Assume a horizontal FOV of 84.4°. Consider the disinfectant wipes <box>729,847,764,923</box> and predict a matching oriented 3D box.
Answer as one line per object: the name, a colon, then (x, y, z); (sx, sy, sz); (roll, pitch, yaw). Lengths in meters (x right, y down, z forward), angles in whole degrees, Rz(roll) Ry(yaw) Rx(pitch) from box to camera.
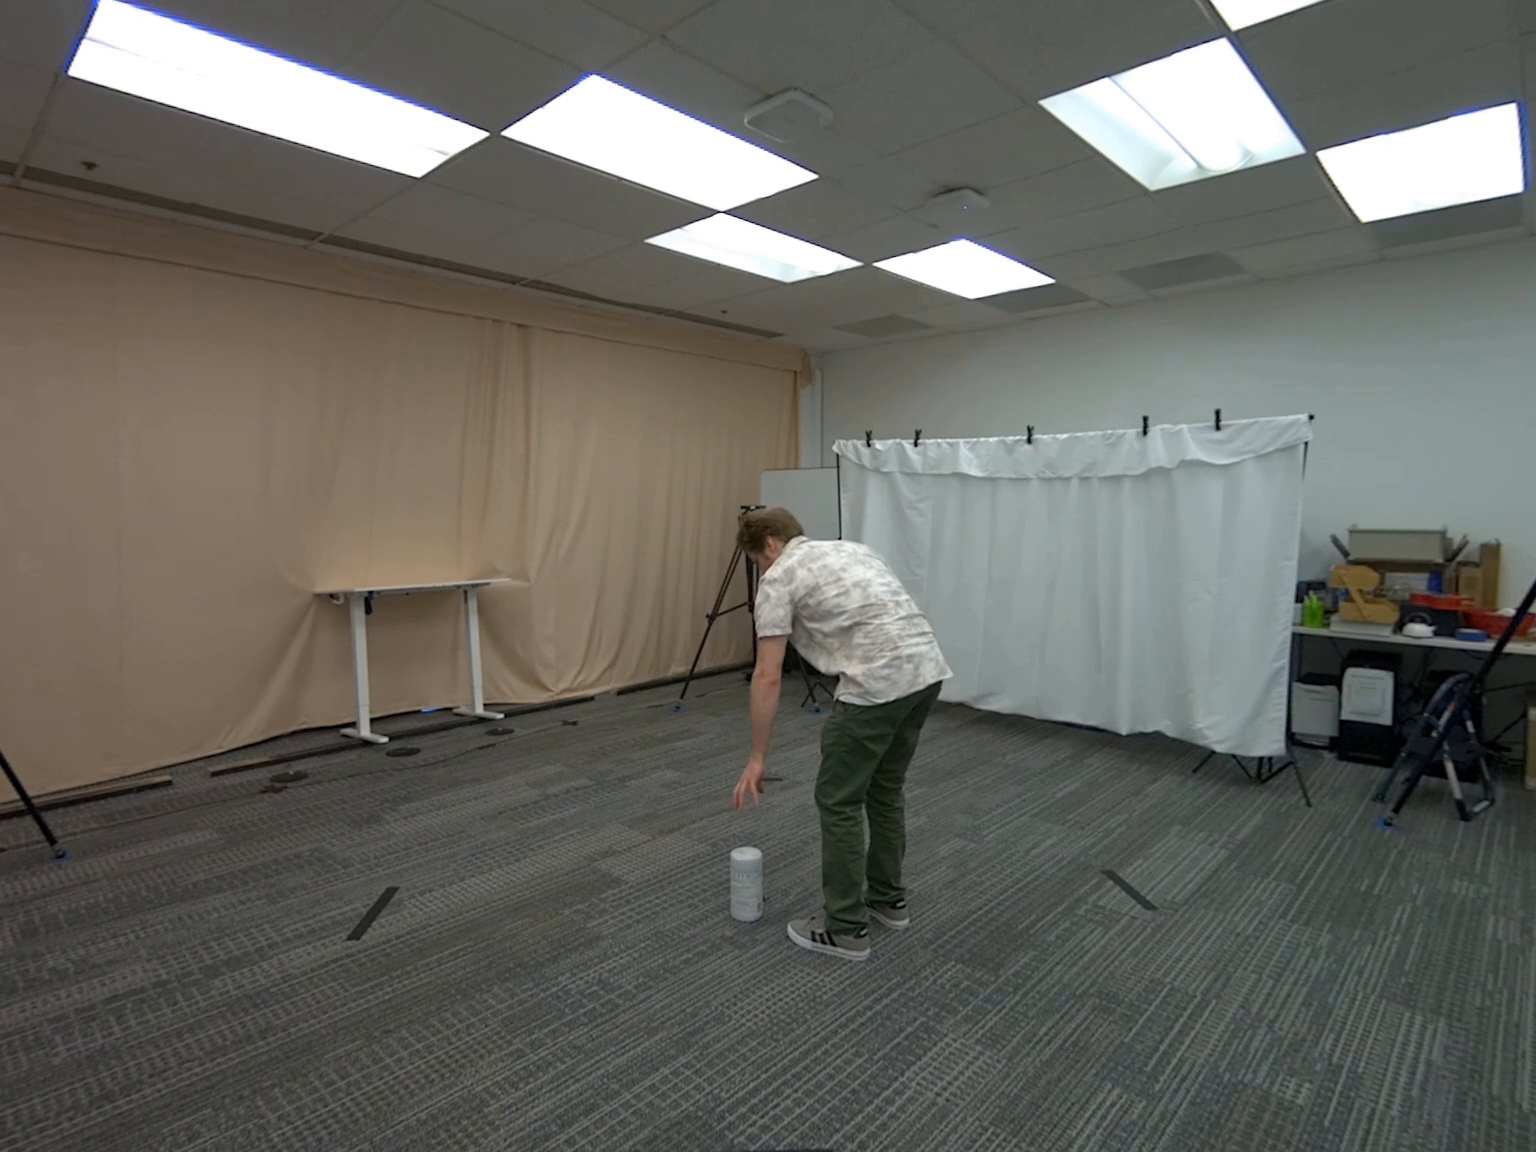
disinfectant wipes: (-0.066, 1.052, 2.862); (0.118, 0.217, 0.118); (-2, 2, -2)
